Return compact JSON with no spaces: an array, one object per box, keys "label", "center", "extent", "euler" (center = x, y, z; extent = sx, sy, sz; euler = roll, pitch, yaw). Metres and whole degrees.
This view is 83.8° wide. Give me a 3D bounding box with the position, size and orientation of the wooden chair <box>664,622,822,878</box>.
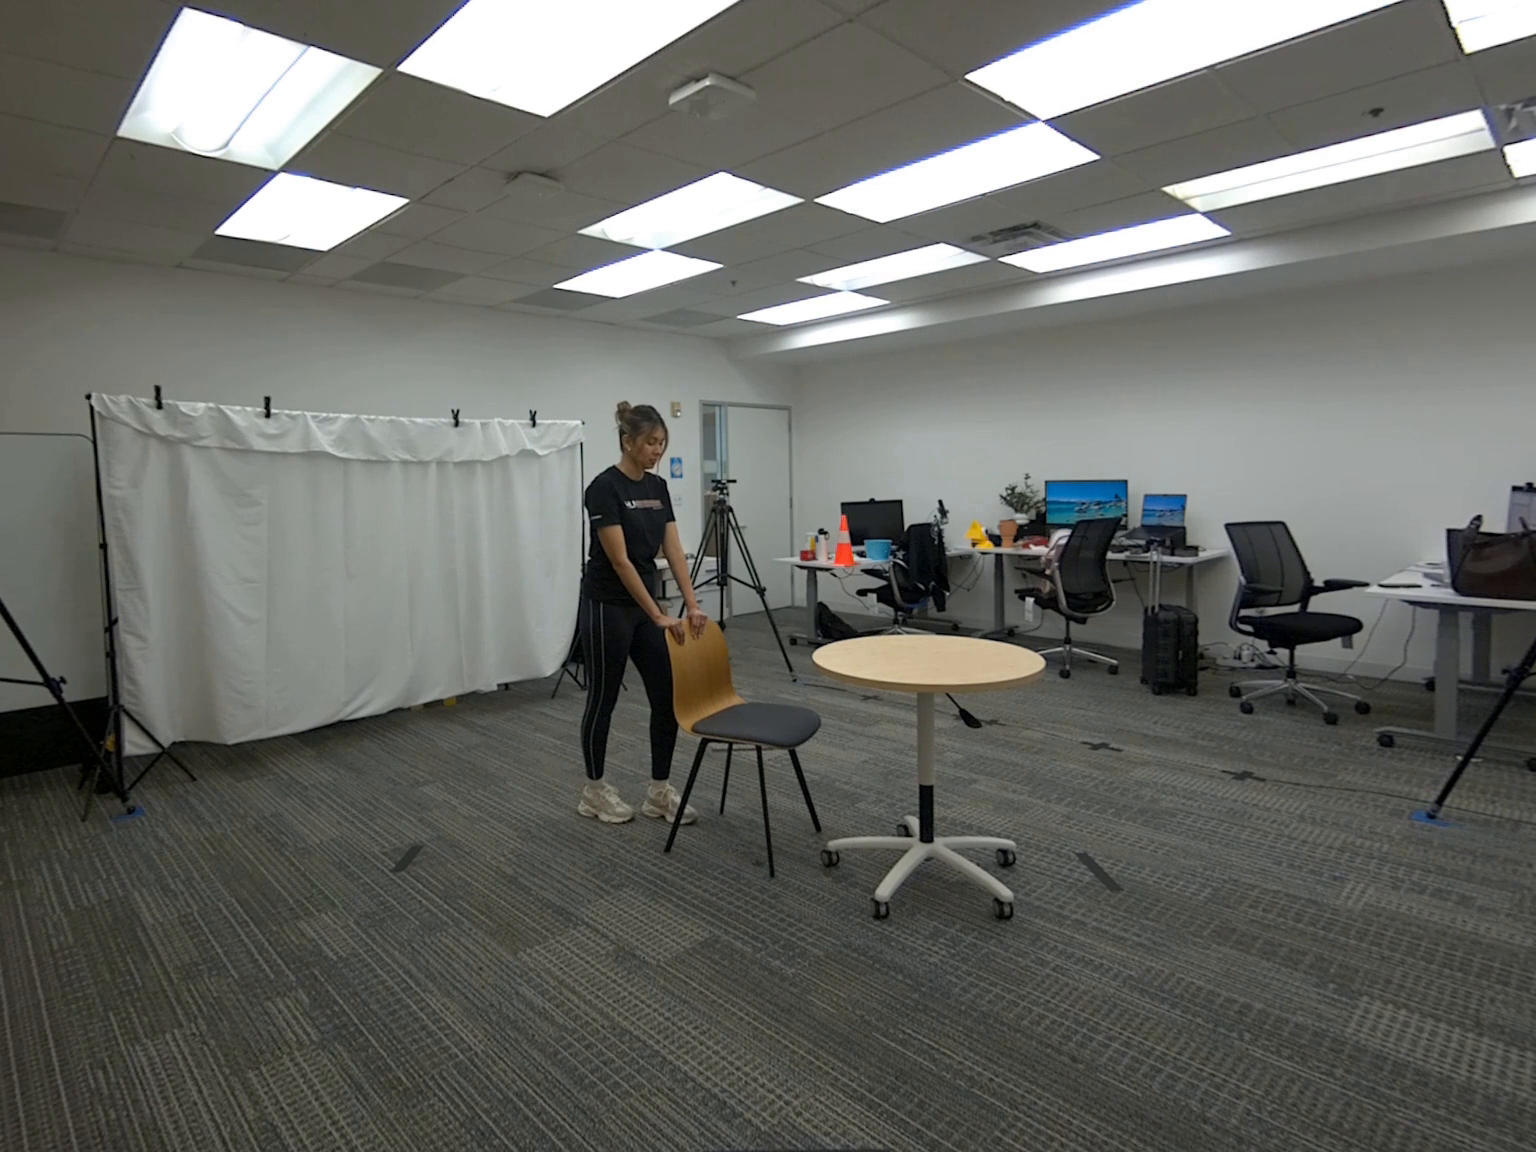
[{"label":"wooden chair","center":[-0.086,0.600,3.262],"extent":[0.535,0.876,0.468],"euler":[-4,2,28]}]
